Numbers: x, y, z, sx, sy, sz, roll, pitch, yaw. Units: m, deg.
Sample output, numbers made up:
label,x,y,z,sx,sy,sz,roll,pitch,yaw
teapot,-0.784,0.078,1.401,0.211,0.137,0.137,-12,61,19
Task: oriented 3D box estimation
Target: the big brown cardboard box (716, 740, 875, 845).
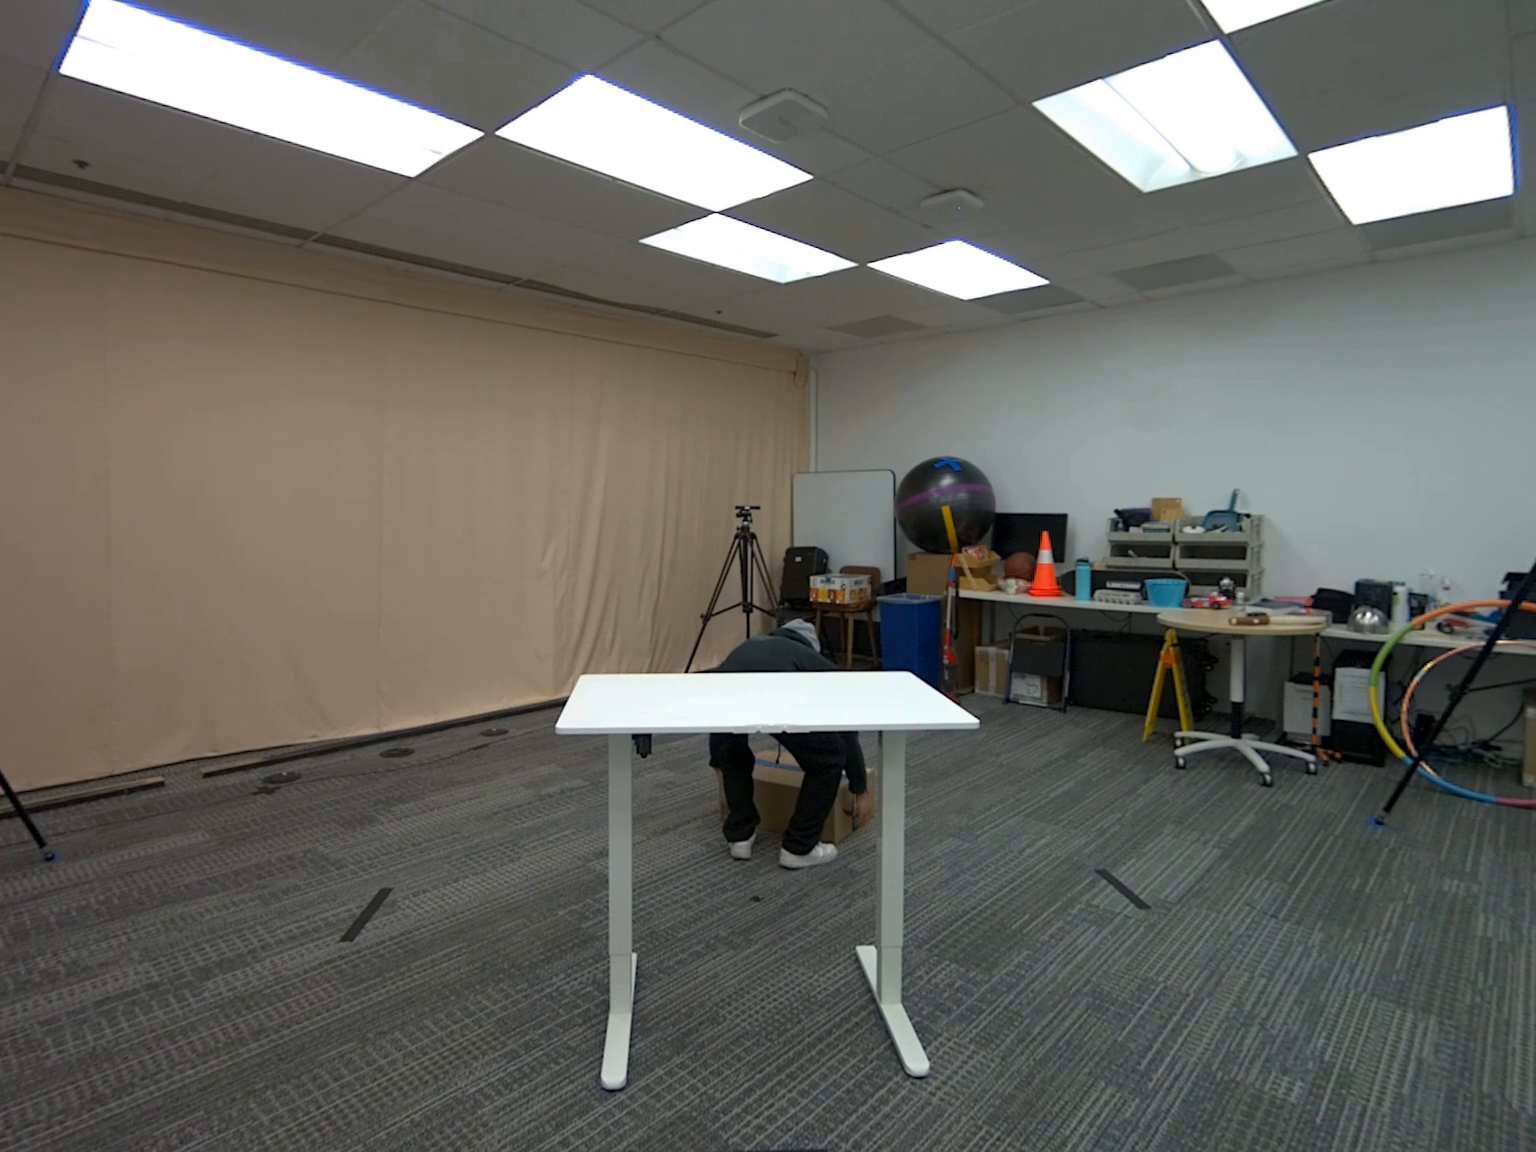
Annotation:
label,x,y,z,sx,sy,sz,roll,pitch,yaw
big brown cardboard box,0.135,0.969,3.754,0.606,0.233,0.406,1,3,31
